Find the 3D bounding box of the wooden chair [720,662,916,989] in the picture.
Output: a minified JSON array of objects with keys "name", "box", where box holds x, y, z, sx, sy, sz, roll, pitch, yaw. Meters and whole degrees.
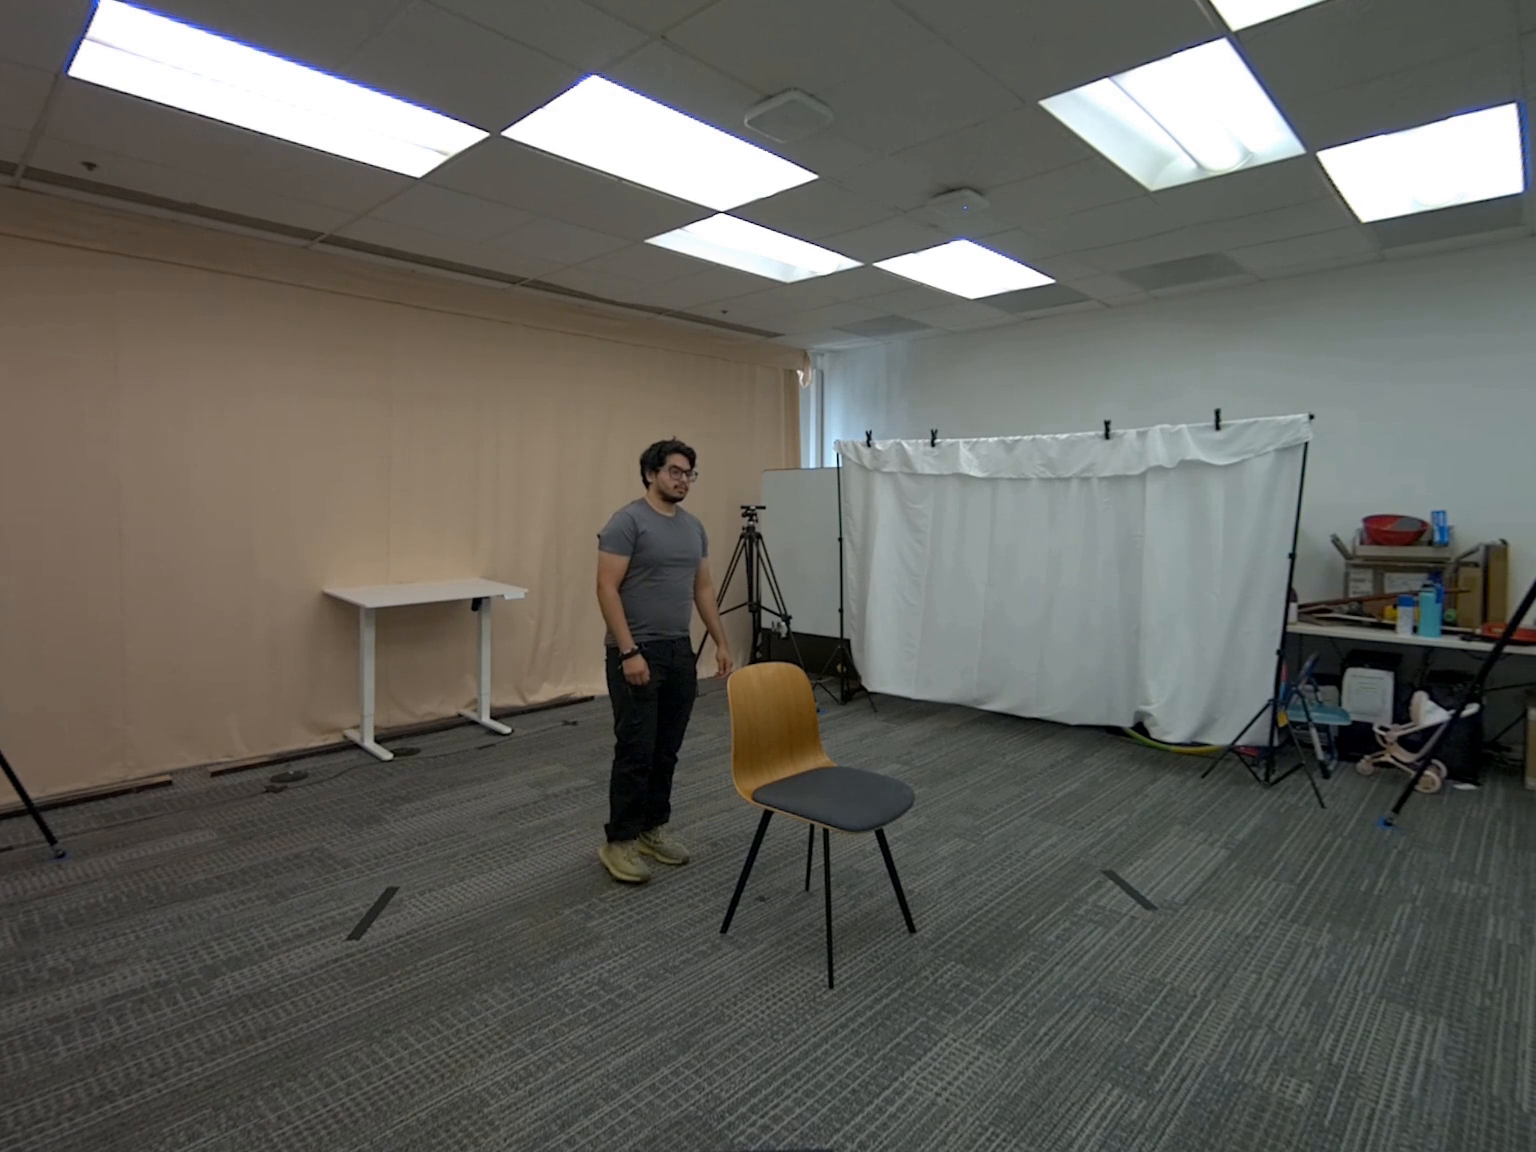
[{"name":"wooden chair","box":[0.174,0.739,2.705,0.539,0.877,0.463,-3,1,43]}]
